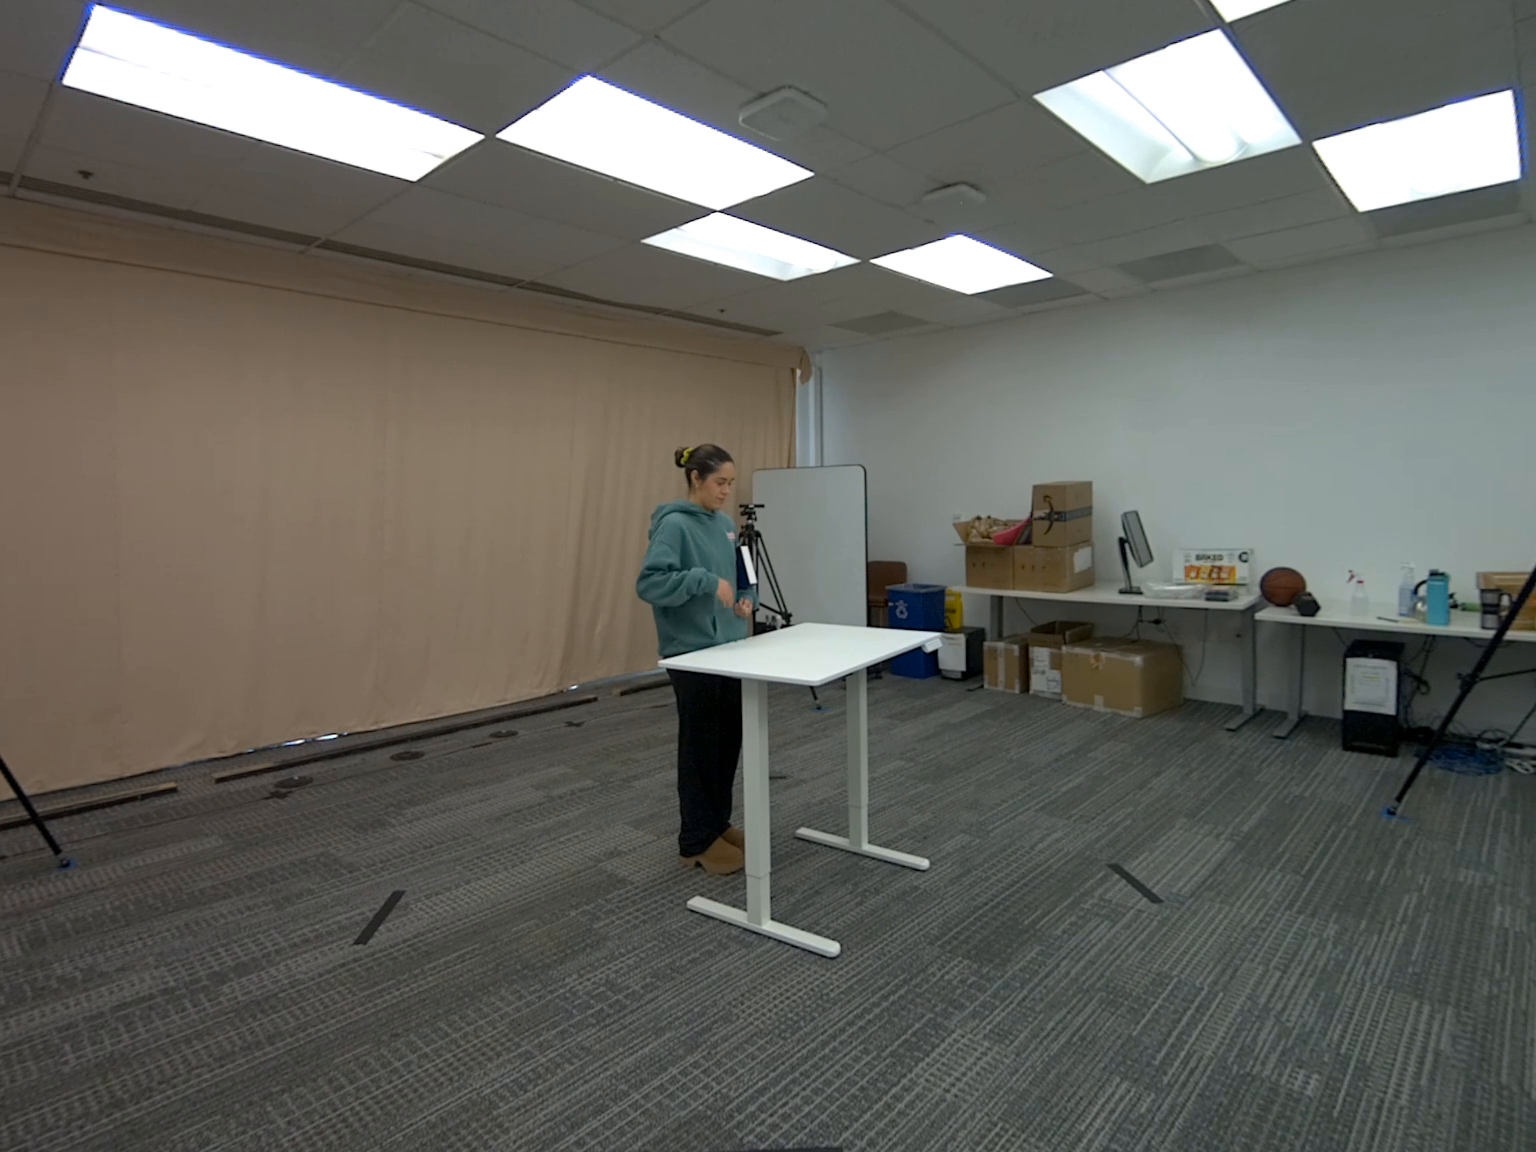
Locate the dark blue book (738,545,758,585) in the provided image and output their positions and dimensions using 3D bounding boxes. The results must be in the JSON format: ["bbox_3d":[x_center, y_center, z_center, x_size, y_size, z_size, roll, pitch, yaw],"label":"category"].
[{"bbox_3d":[-0.137,-0.015,3.361,0.044,0.165,0.250,1,-19,-40],"label":"dark blue book"}]
